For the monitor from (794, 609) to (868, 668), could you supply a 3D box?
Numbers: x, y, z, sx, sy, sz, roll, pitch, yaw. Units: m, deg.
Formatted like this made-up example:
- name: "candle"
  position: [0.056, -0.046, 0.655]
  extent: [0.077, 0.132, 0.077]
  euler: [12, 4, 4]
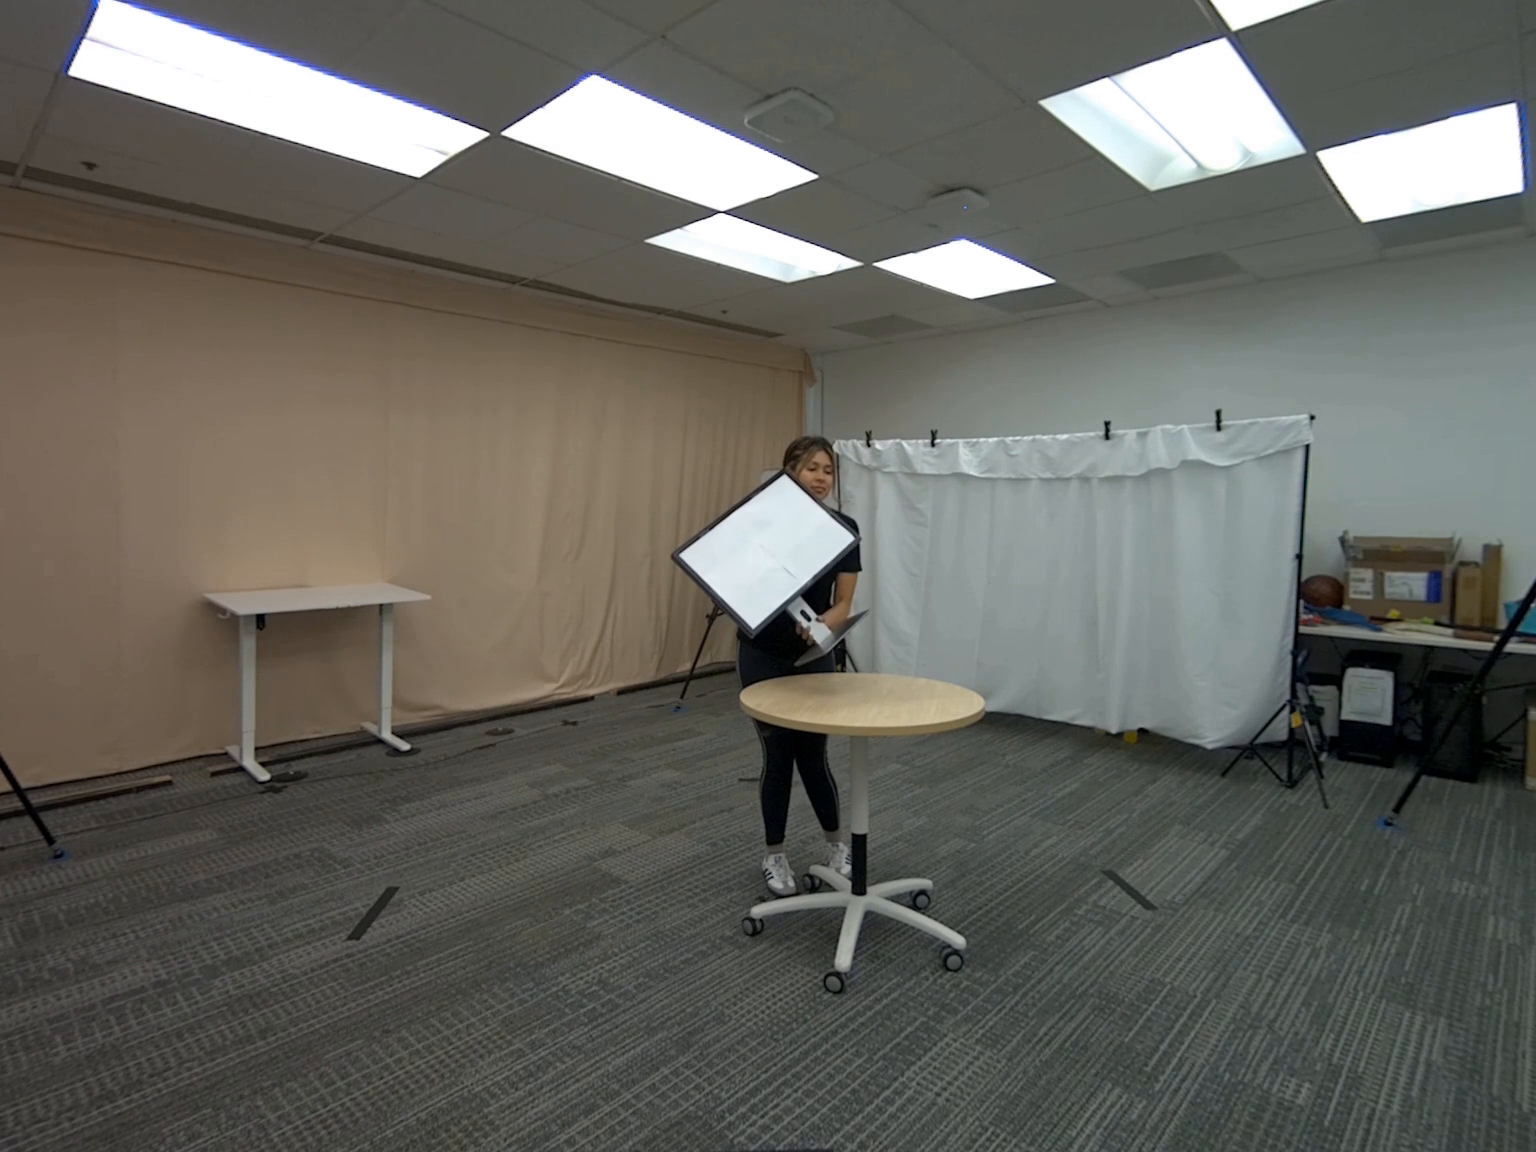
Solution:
- name: "monitor"
  position: [0.075, -0.007, 2.740]
  extent: [0.531, 0.523, 0.189]
  euler: [-37, -1, -34]
